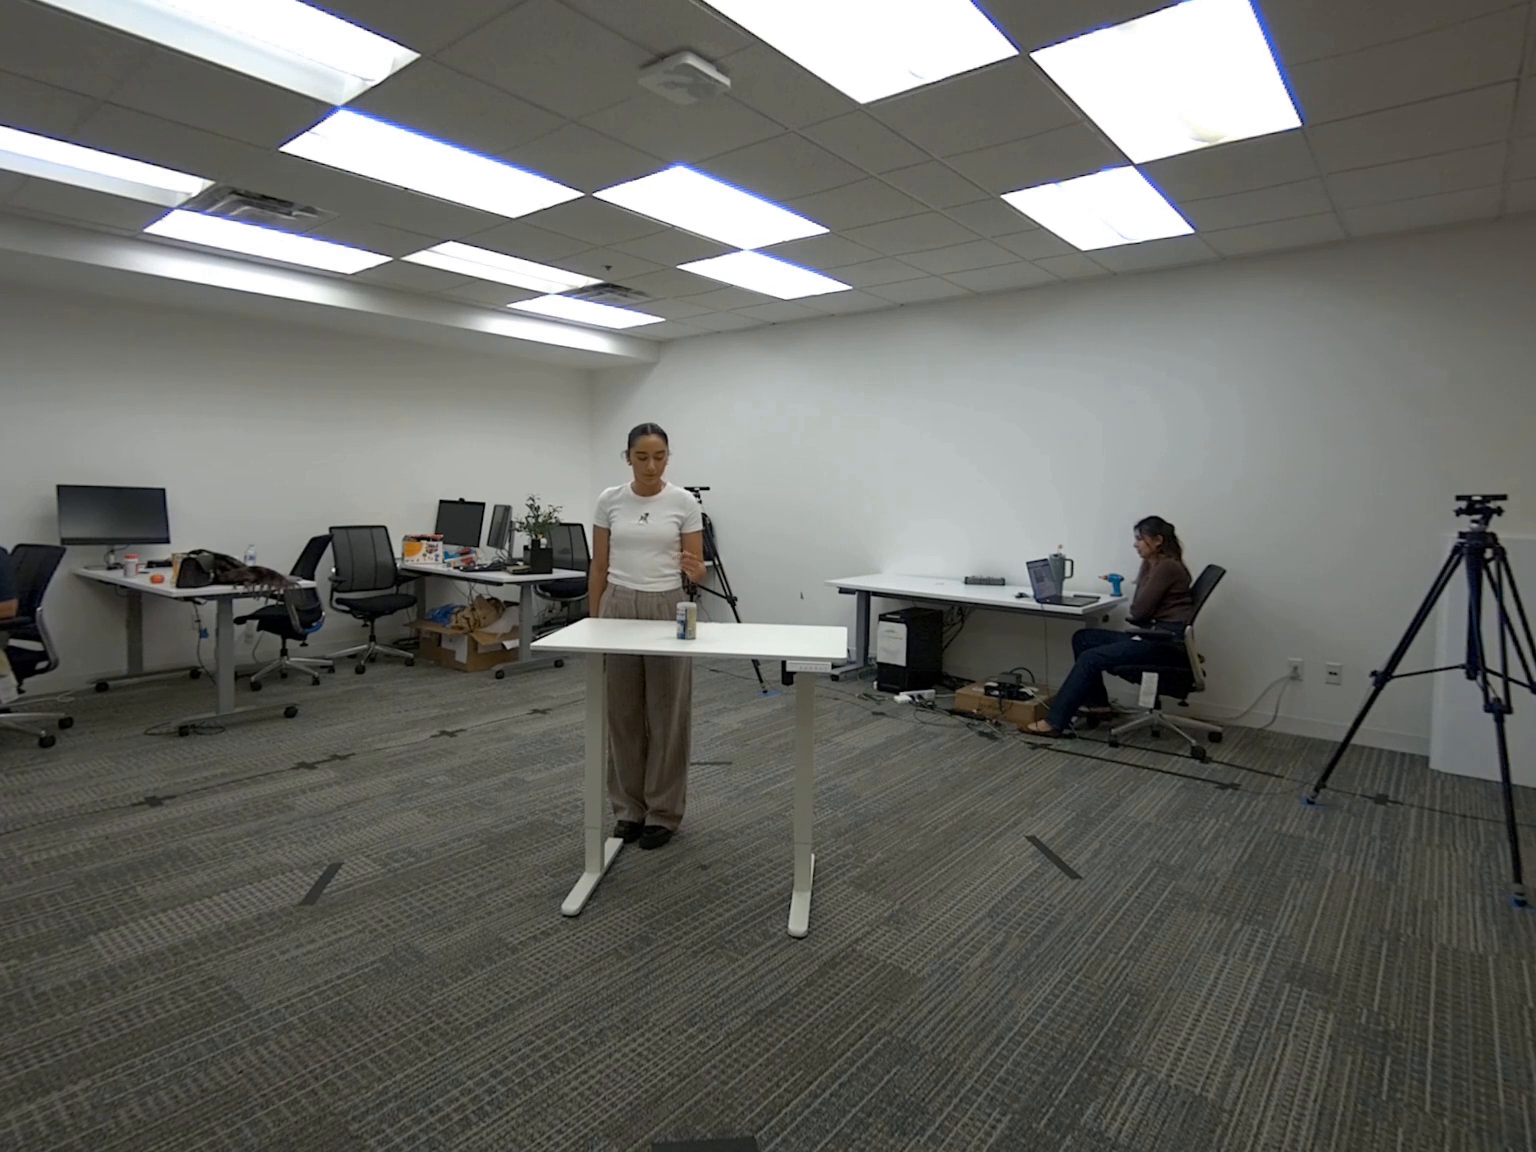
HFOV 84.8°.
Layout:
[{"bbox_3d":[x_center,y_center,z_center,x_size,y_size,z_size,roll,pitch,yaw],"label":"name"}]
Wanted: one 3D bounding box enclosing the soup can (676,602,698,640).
[{"bbox_3d":[-0.280,0.148,2.866,0.067,0.121,0.067,4,4,-2],"label":"soup can"}]
